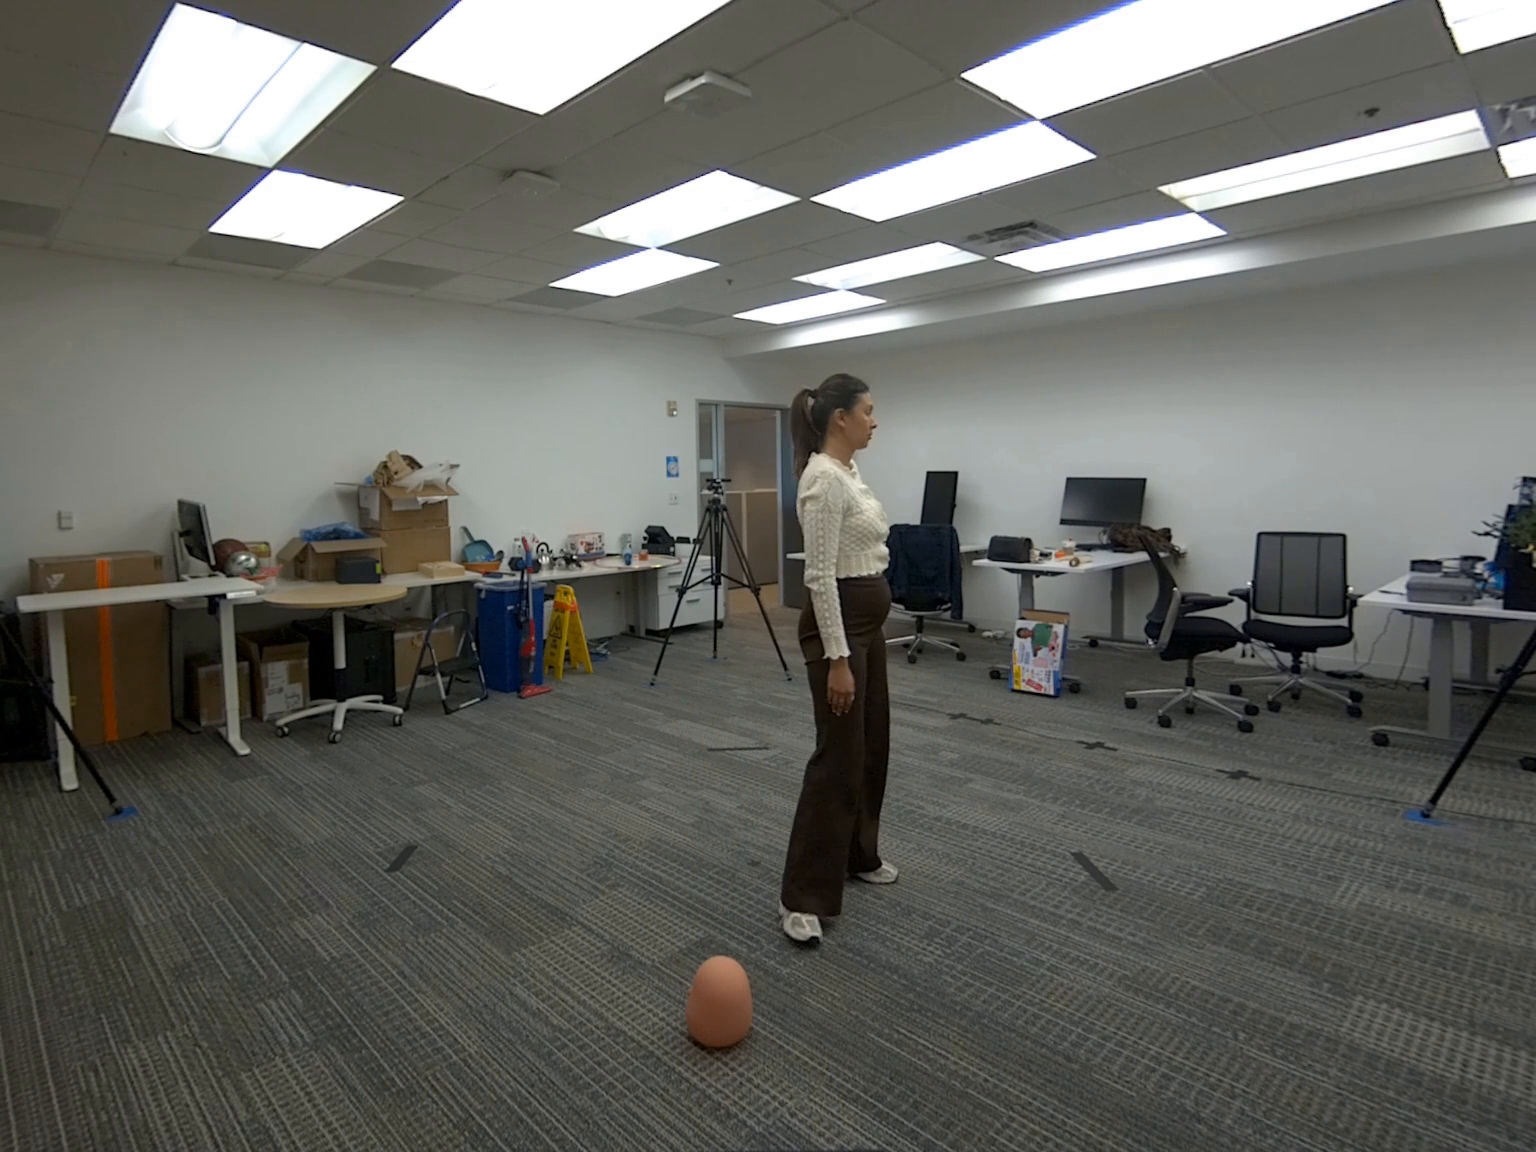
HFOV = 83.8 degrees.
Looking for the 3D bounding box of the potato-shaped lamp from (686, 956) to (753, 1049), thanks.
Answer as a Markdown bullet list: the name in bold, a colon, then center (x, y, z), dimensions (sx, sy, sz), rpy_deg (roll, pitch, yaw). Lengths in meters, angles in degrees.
- **potato-shaped lamp**: center (-0.111, 1.061, 2.143), dimensions (0.161, 0.197, 0.176), rpy_deg (-3, 7, -27)
